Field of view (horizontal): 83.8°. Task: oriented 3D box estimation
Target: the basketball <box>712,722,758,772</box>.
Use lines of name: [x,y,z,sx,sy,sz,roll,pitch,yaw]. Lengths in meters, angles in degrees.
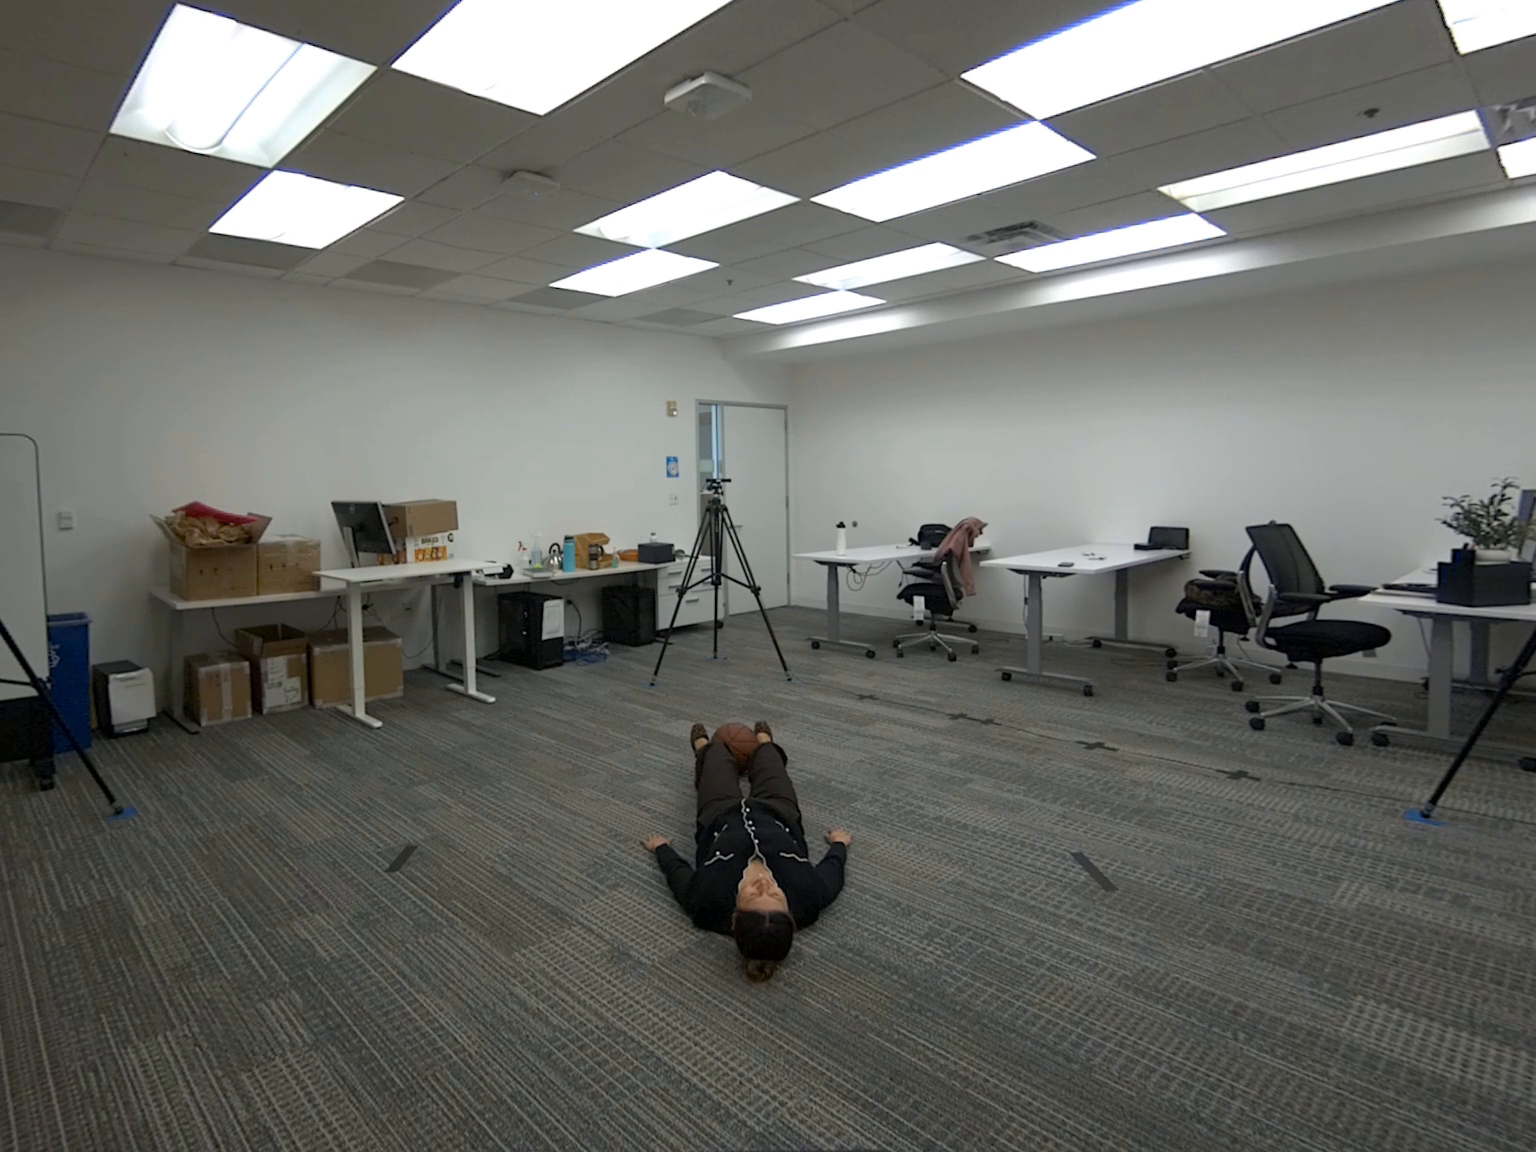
basketball: [-0.157,0.816,4.064,0.236,0.235,0.237,-4,4,-1]
